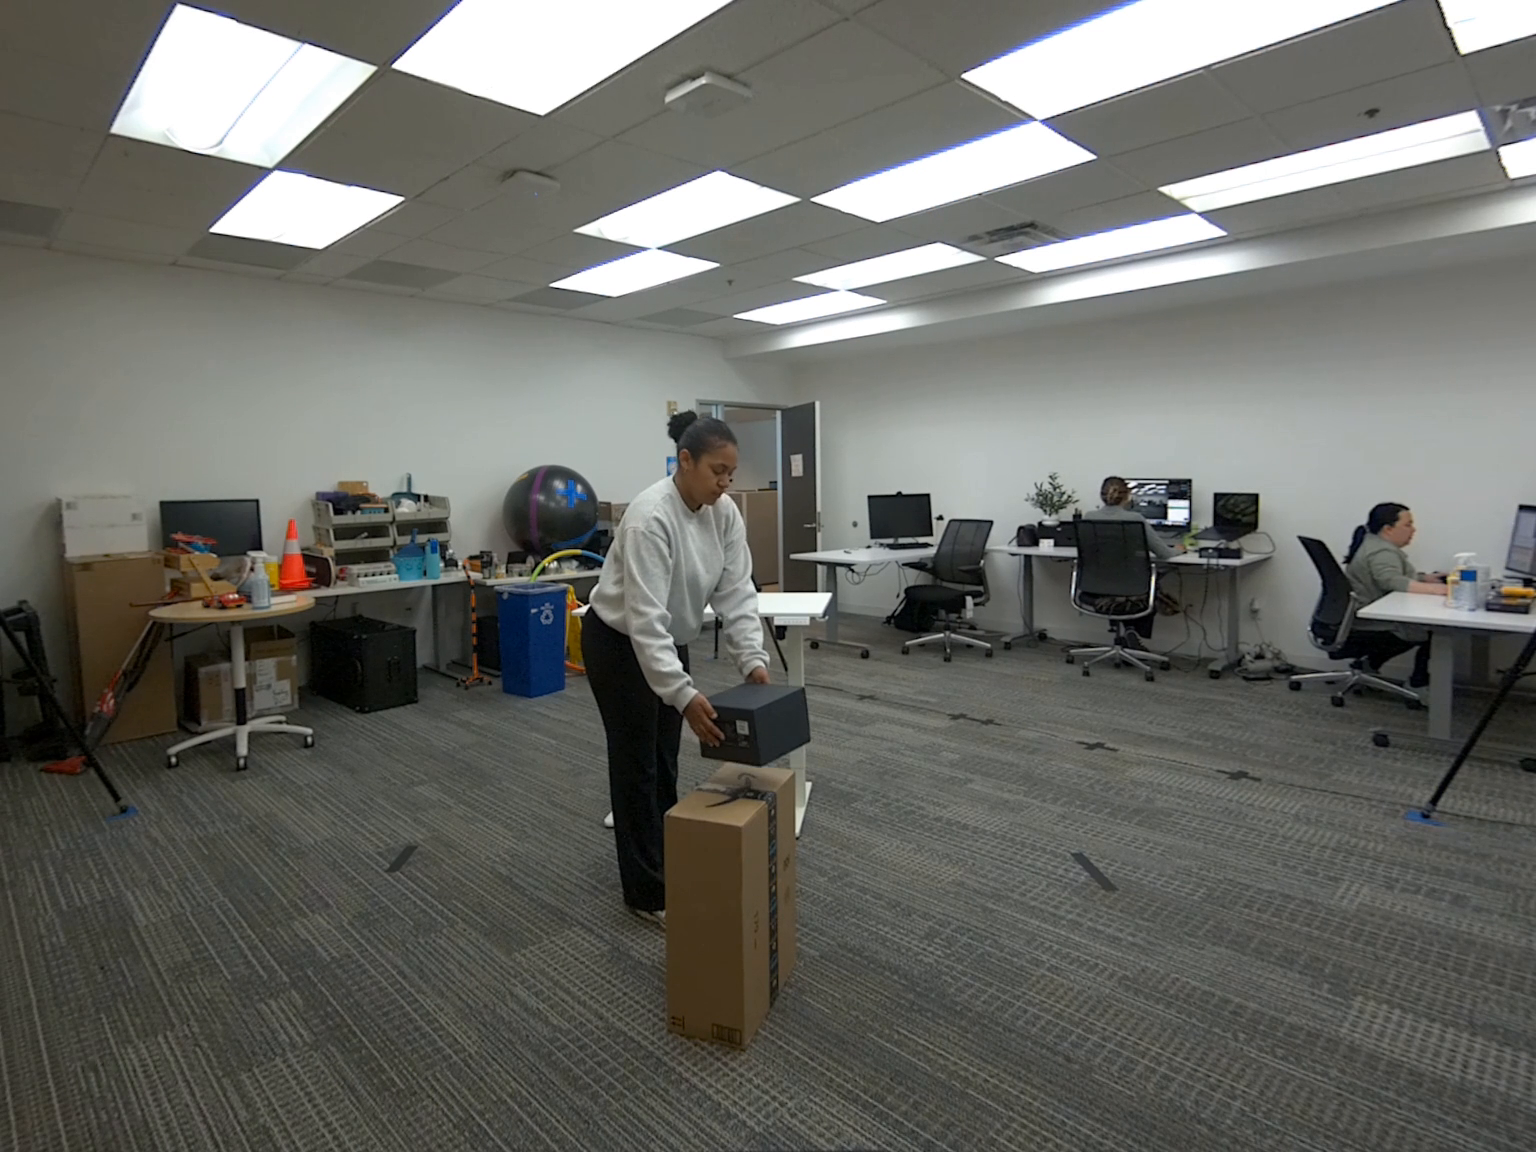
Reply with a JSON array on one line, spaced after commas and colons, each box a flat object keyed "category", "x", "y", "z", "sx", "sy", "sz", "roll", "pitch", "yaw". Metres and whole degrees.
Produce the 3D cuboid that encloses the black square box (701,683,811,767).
[{"category": "black square box", "x": -0.042, "y": 0.398, "z": 2.356, "sx": 0.223, "sy": 0.155, "sz": 0.223, "roll": -4, "pitch": 6, "yaw": 40}]
